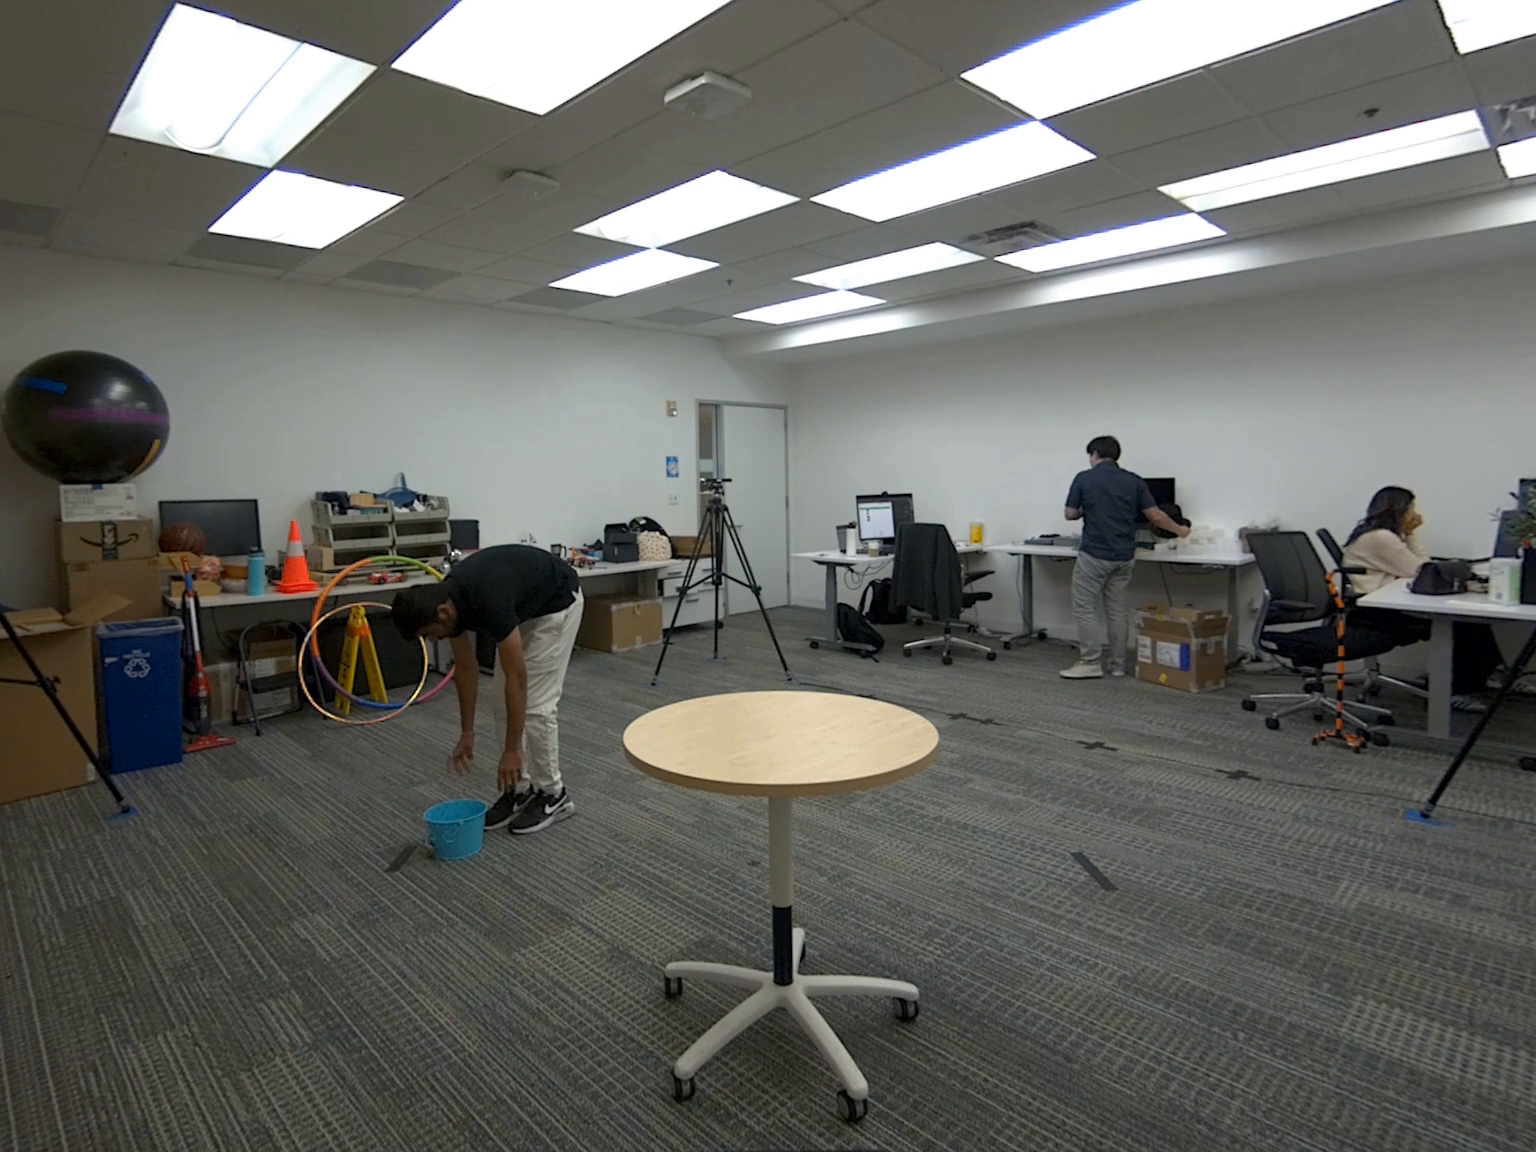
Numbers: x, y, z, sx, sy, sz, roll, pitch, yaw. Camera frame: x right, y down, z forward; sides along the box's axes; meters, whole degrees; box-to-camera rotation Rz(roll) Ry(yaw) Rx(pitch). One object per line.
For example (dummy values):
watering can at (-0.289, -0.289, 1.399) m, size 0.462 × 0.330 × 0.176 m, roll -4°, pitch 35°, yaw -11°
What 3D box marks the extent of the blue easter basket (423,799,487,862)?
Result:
blue easter basket at (-1.192, 0.970, 3.280) m, size 0.243 × 0.155 × 0.245 m, roll -1°, pitch 5°, yaw -2°
